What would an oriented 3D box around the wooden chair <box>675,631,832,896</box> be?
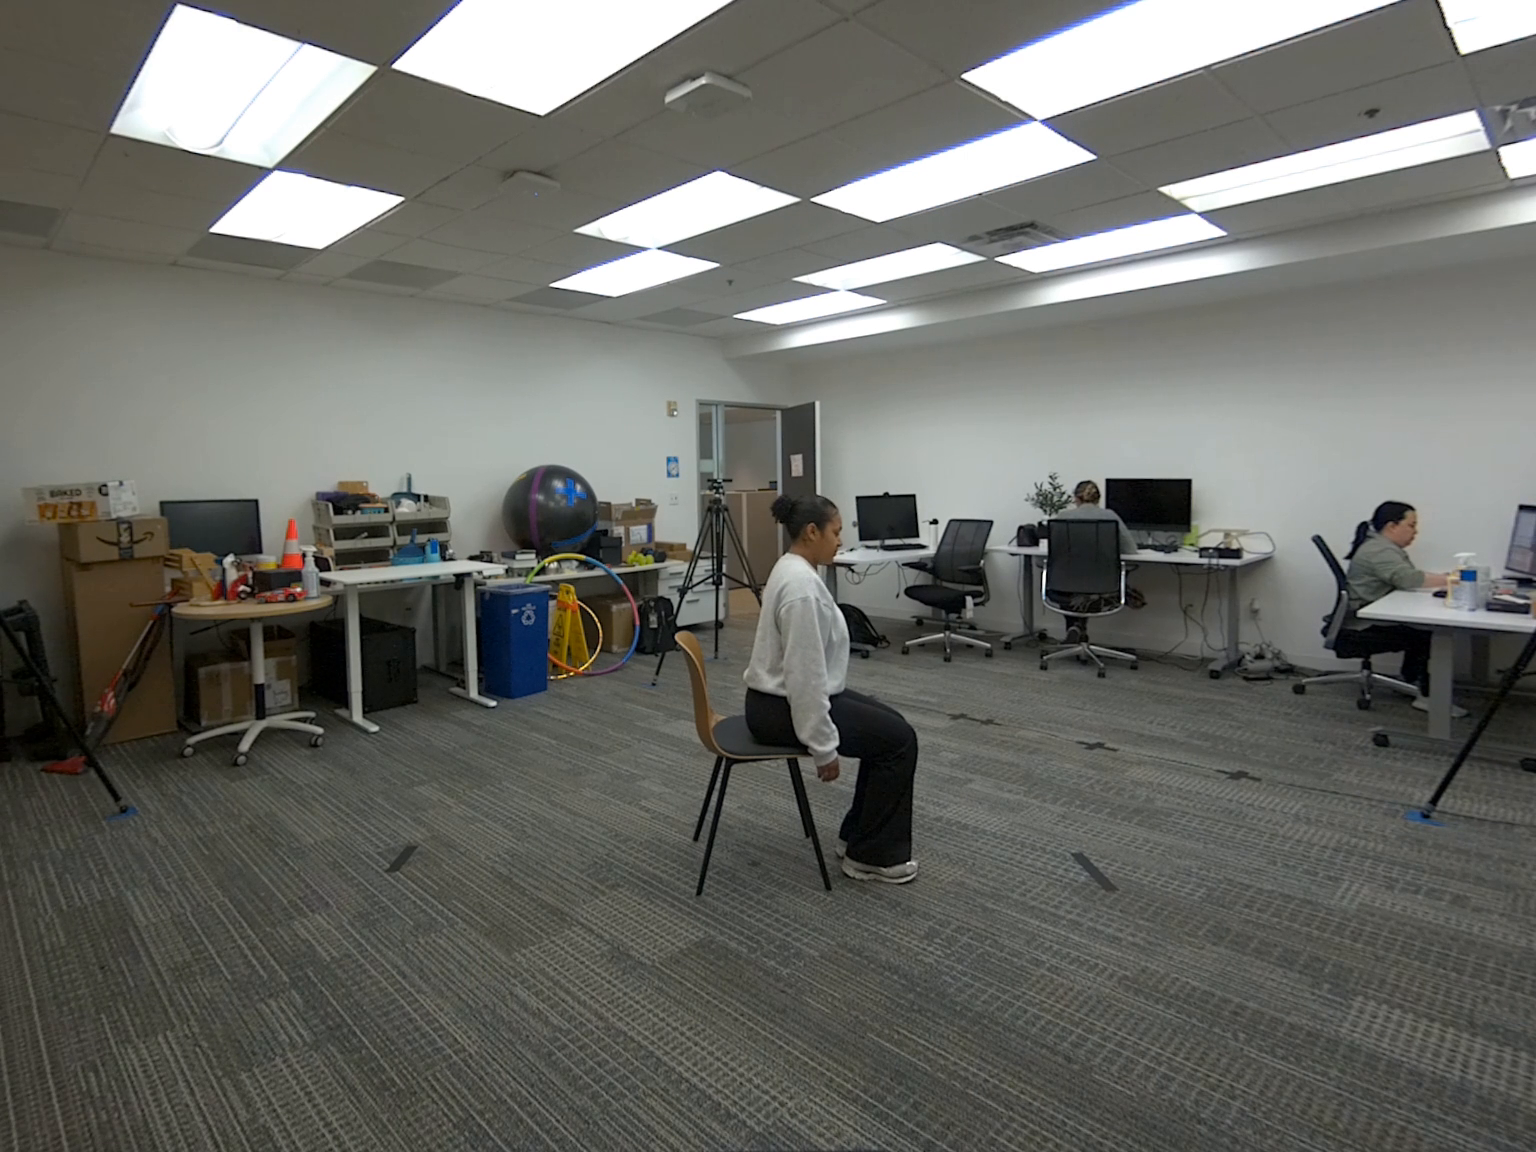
[{"bbox_3d":[-0.036,0.622,3.071,0.521,0.874,0.482,-5,4,-5],"label":"wooden chair"}]
